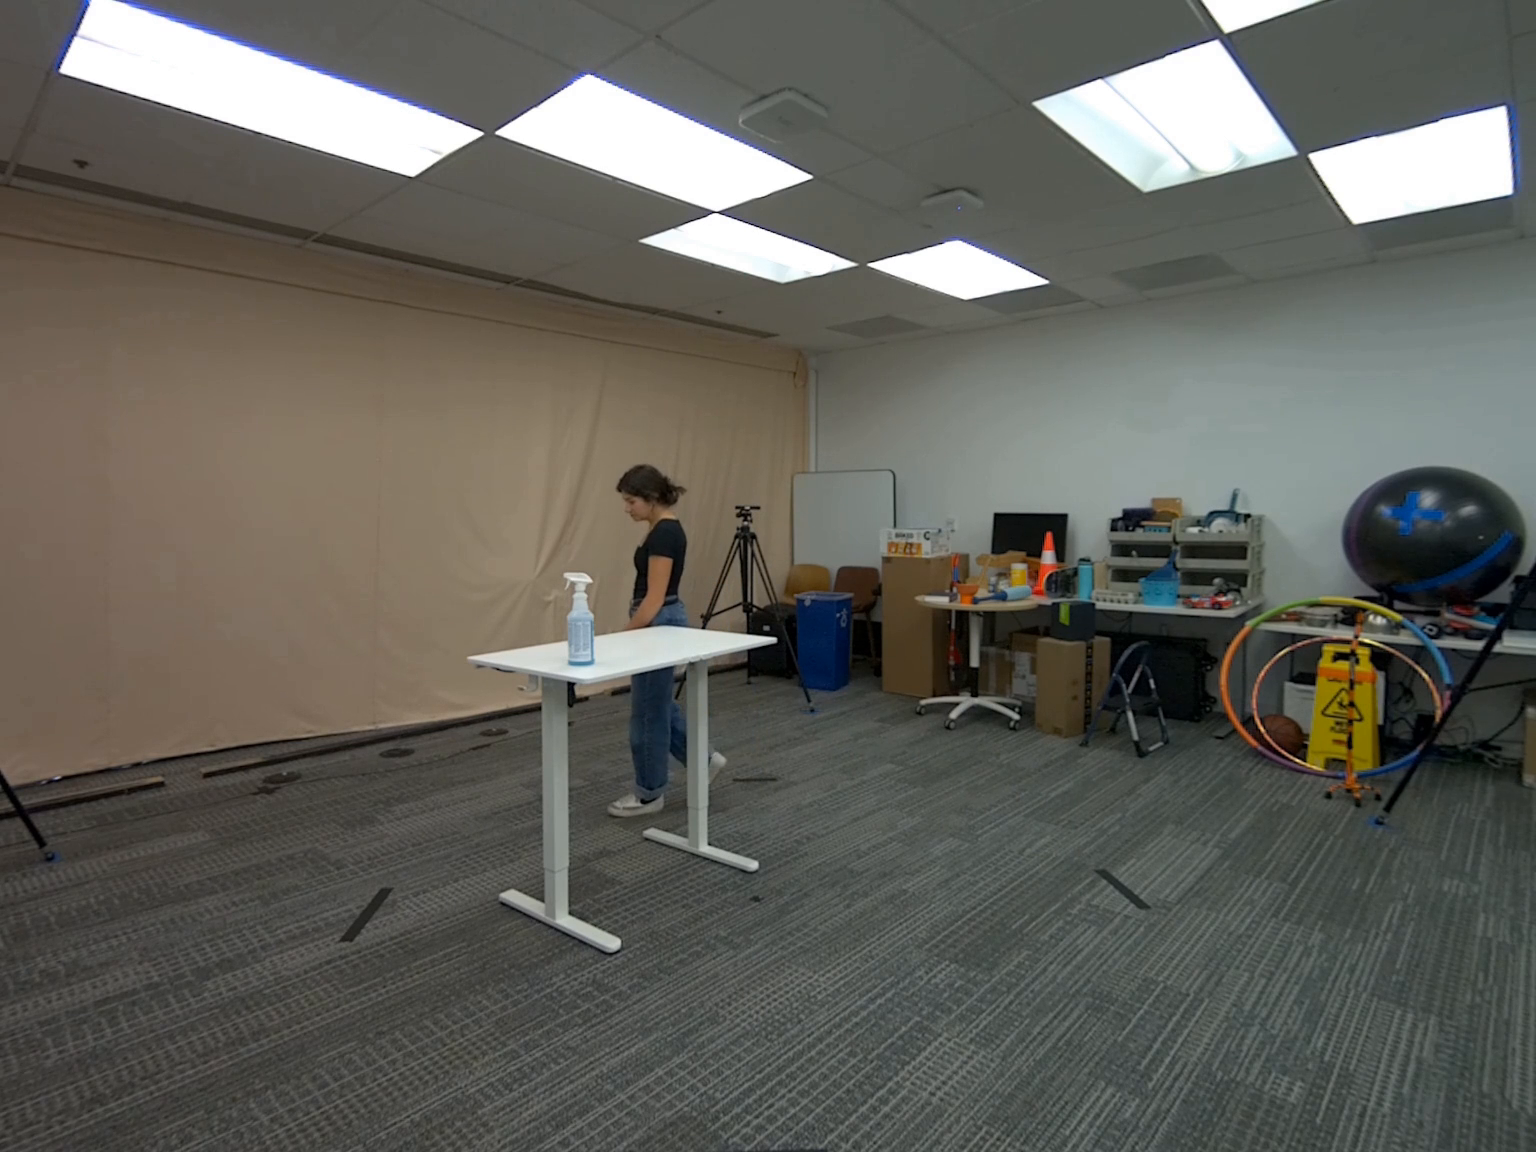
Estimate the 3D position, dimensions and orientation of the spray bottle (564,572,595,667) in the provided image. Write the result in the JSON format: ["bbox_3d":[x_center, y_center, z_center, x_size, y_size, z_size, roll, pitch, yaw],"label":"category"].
[{"bbox_3d":[-0.607,0.140,2.732,0.092,0.297,0.085,-1,3,21],"label":"spray bottle"}]
